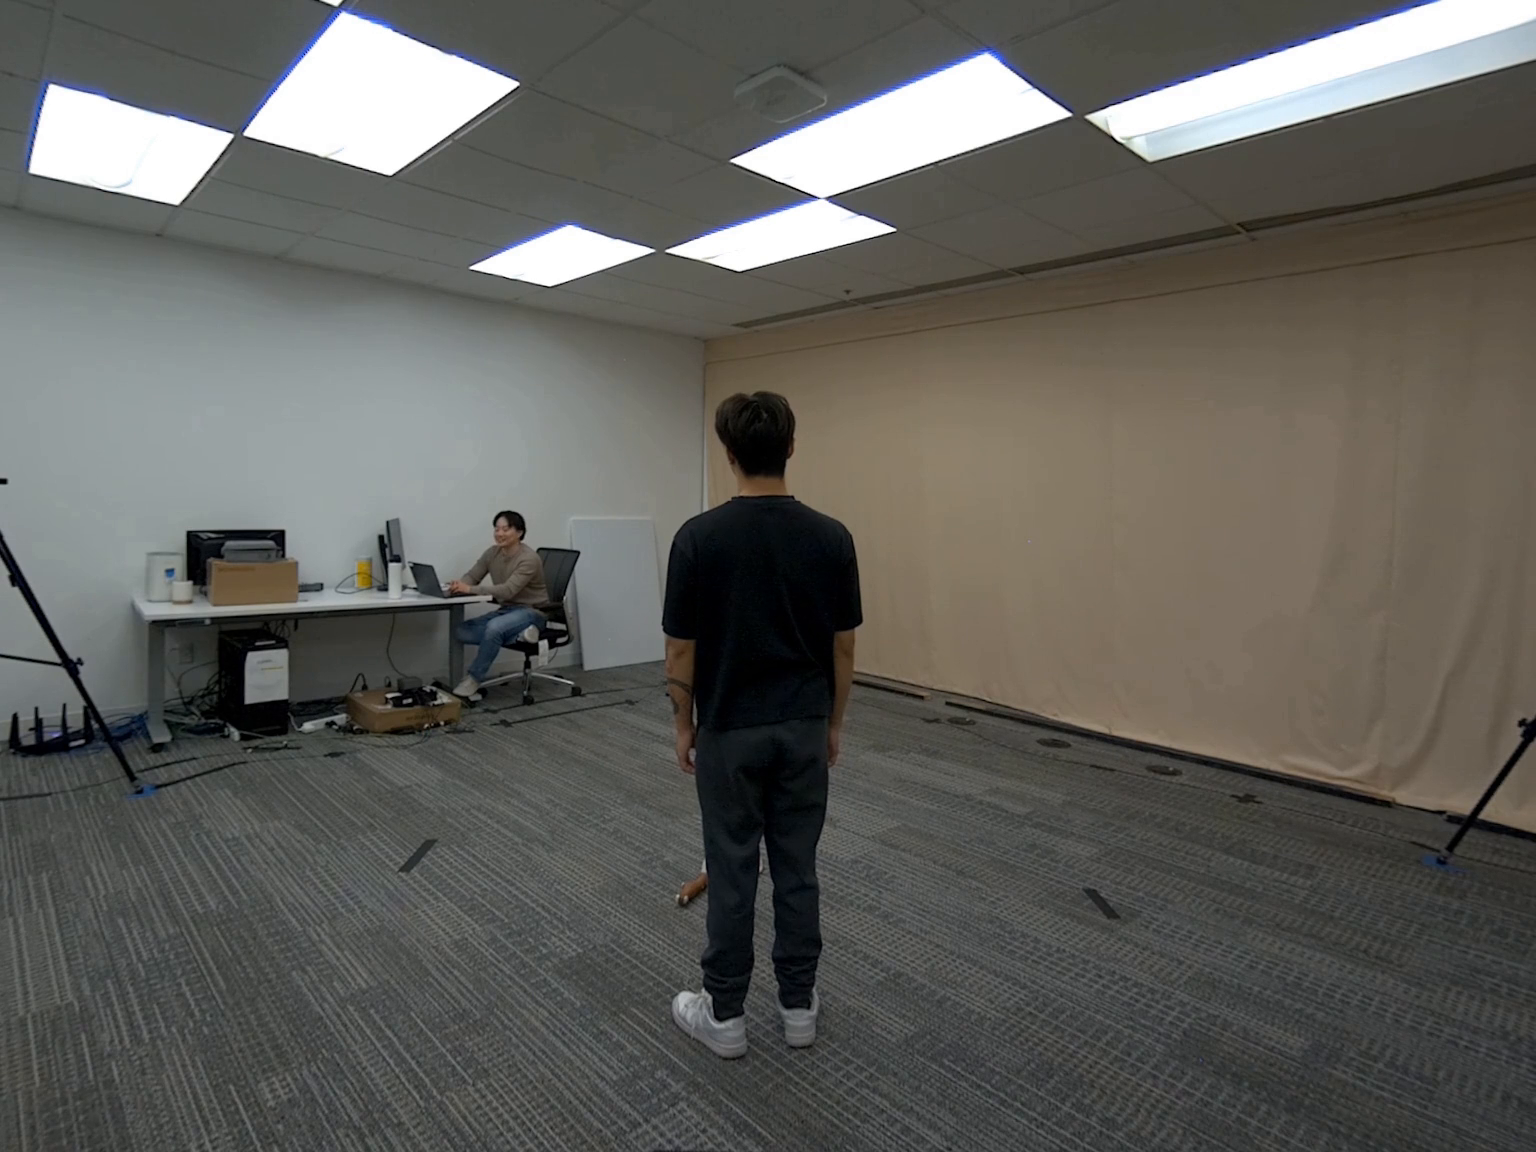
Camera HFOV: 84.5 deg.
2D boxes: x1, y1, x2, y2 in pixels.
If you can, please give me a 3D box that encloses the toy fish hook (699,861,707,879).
[{"bbox_3d":[-0.171,1.091,3.058,0.228,0.048,0.500,1,5,20],"label":"toy fish hook"}]
